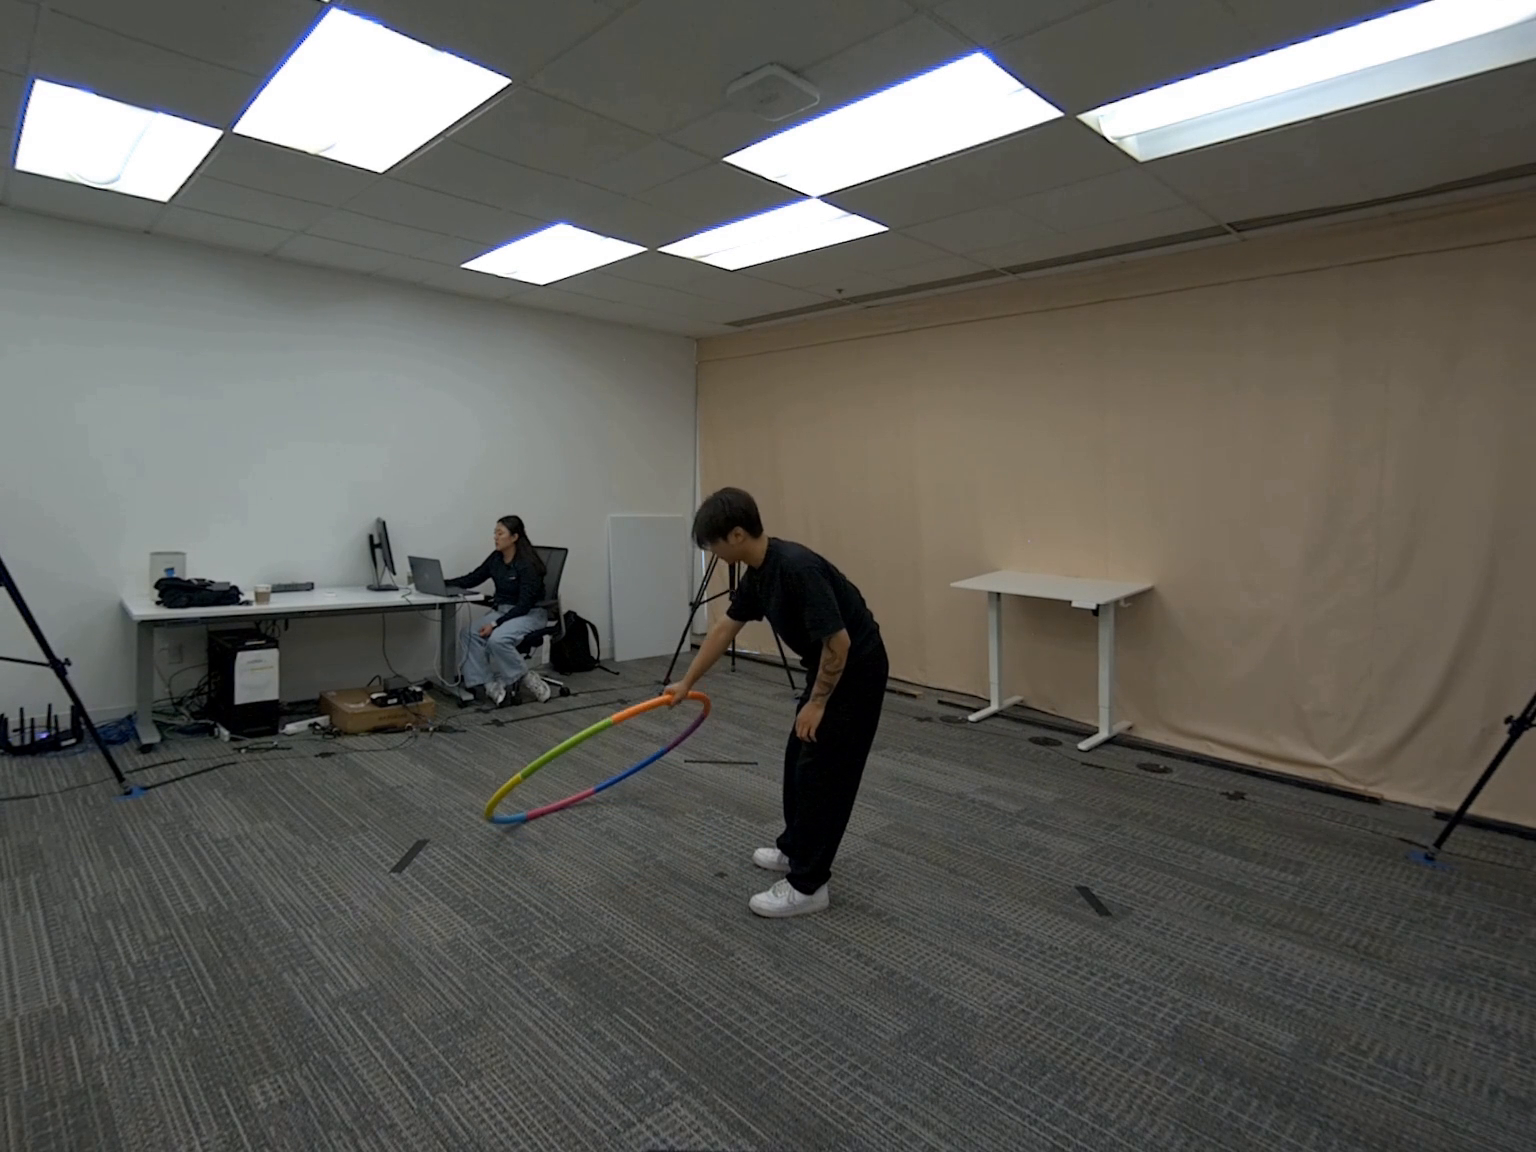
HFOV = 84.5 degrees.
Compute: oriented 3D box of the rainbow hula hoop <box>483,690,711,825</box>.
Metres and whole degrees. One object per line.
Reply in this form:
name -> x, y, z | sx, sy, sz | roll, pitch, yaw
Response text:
rainbow hula hoop -> -0.668, 0.738, 3.396 | 0.974, 0.036, 0.963 | -26, -19, -12
